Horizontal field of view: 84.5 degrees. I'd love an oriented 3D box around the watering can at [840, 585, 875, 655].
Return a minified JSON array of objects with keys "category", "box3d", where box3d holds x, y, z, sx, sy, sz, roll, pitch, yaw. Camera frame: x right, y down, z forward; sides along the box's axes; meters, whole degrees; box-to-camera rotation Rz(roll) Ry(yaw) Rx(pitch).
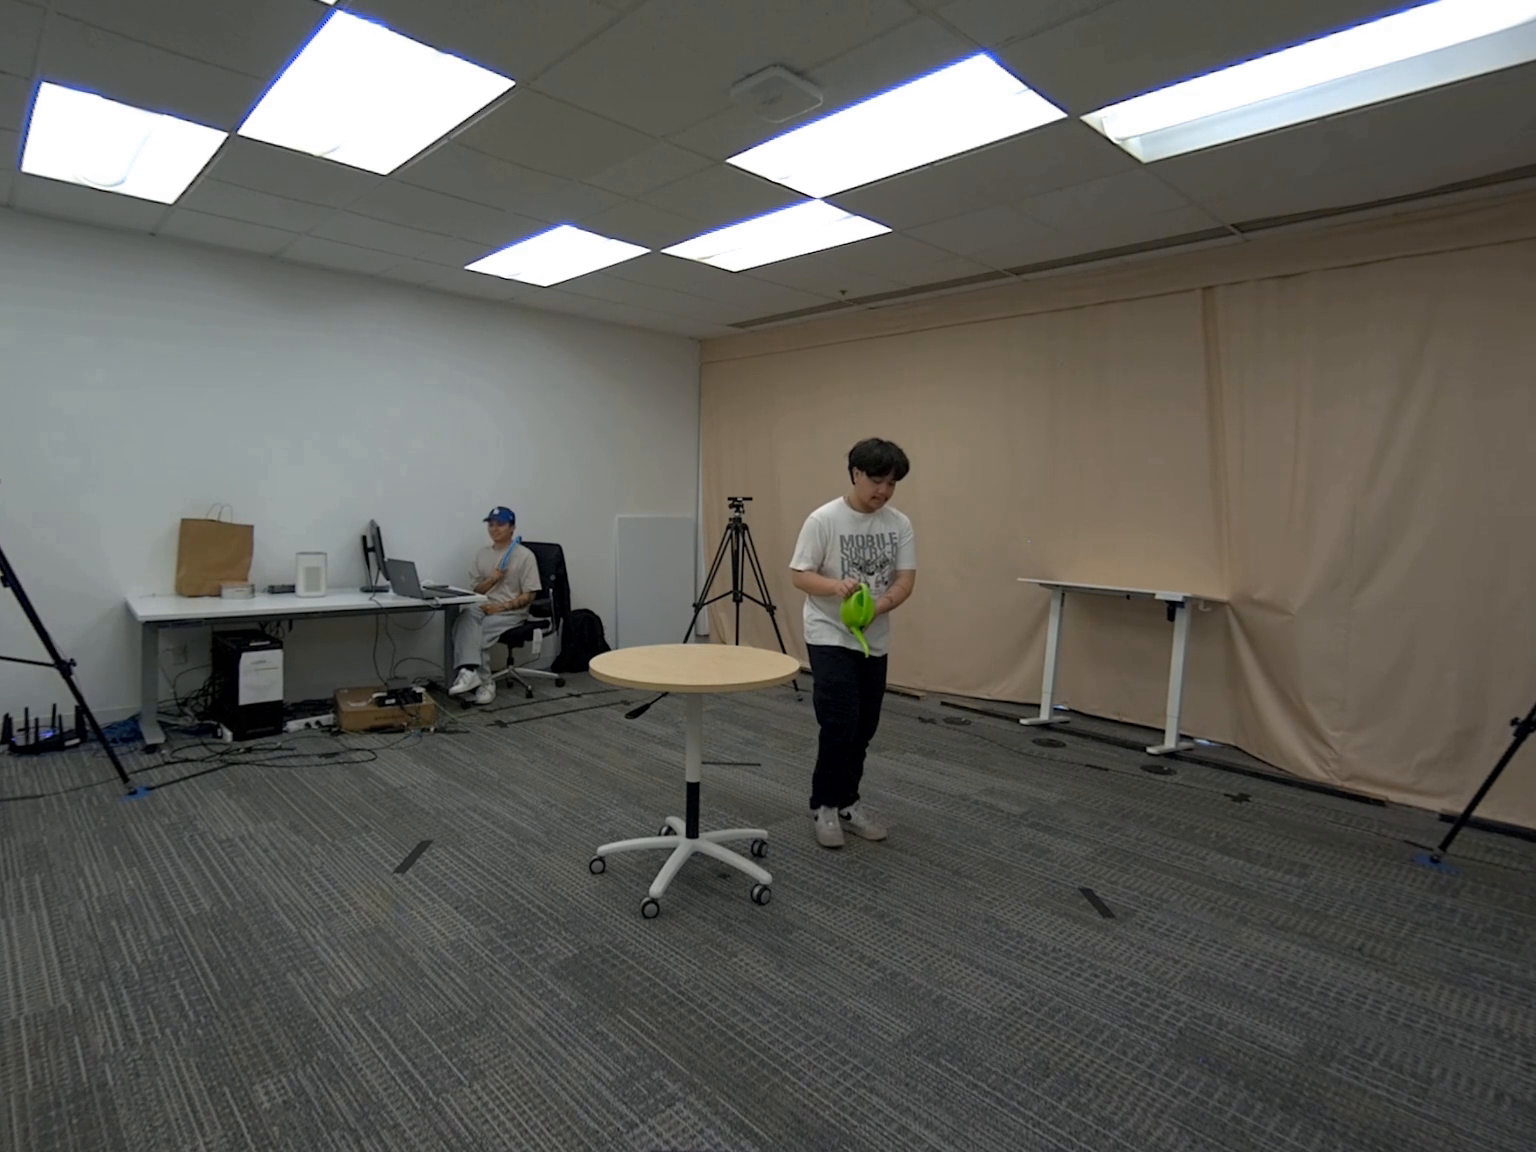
[{"category":"watering can","box3d":[0.321,0.171,3.175,0.098,0.281,0.176,10,-15,-4]}]
